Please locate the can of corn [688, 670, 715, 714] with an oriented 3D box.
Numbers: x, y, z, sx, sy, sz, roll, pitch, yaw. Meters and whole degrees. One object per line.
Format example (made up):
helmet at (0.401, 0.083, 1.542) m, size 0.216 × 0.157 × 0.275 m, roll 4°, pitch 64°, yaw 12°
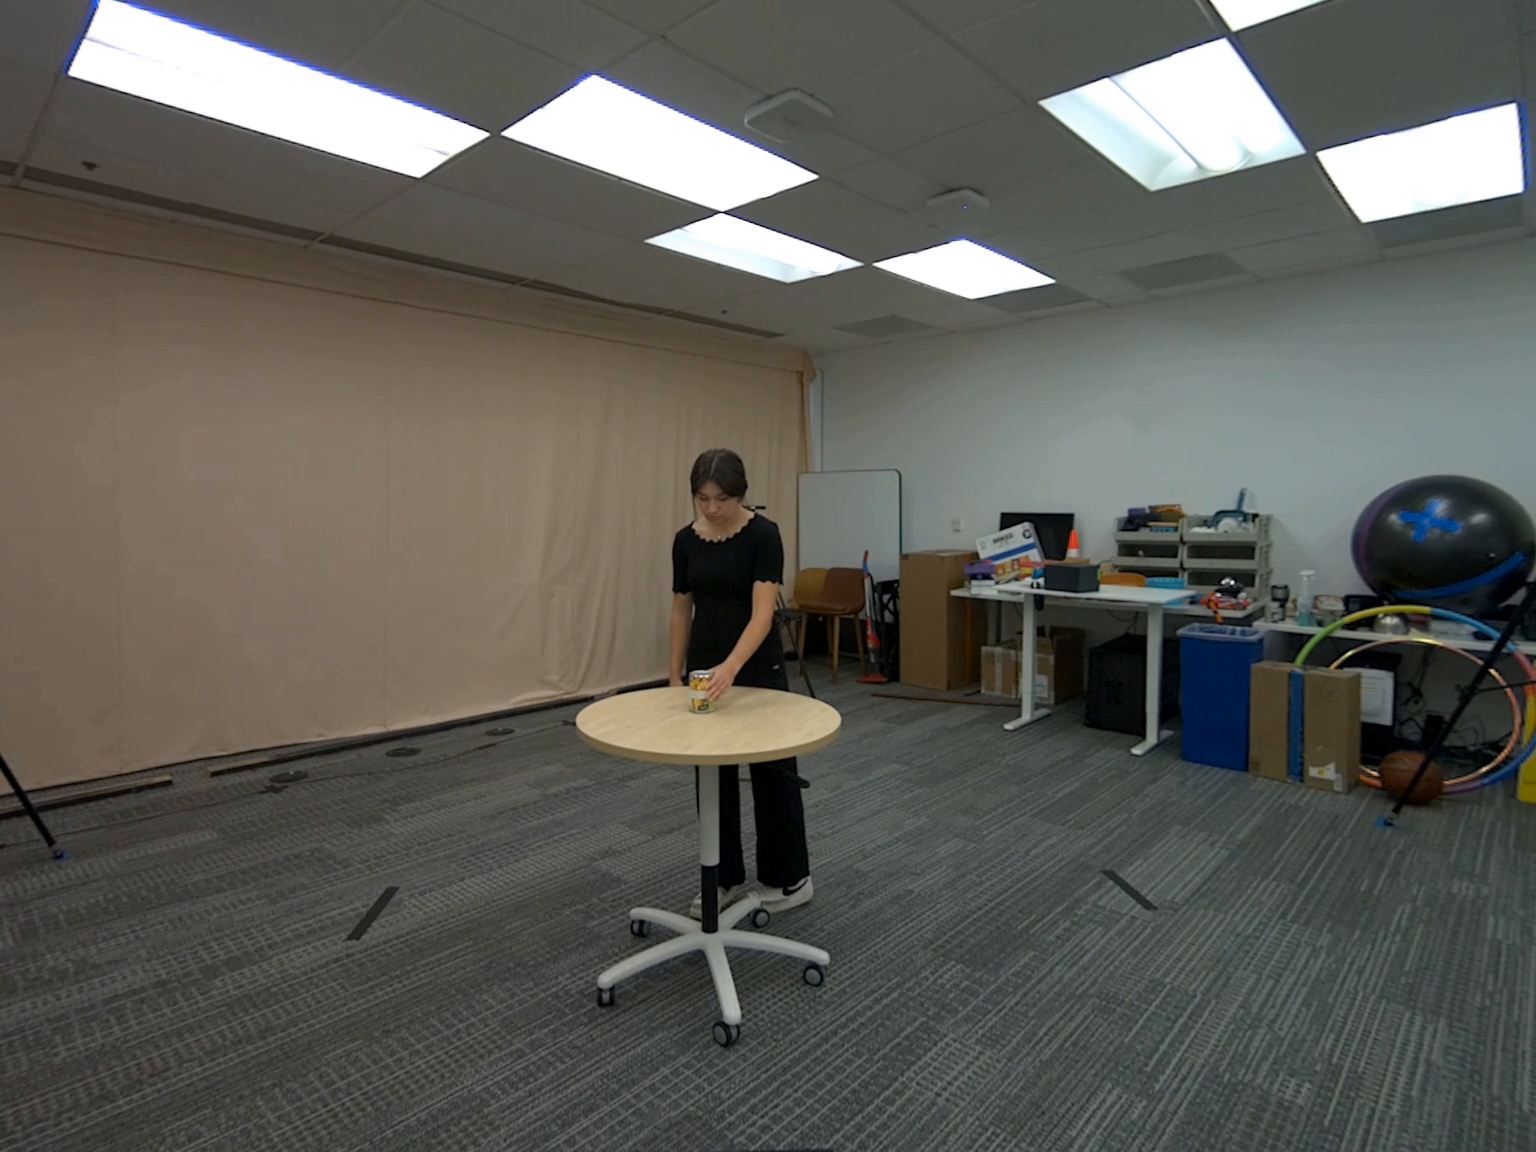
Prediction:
can of corn at (-0.196, 0.343, 2.507) m, size 0.074 × 0.111 × 0.074 m, roll -1°, pitch -1°, yaw -2°
